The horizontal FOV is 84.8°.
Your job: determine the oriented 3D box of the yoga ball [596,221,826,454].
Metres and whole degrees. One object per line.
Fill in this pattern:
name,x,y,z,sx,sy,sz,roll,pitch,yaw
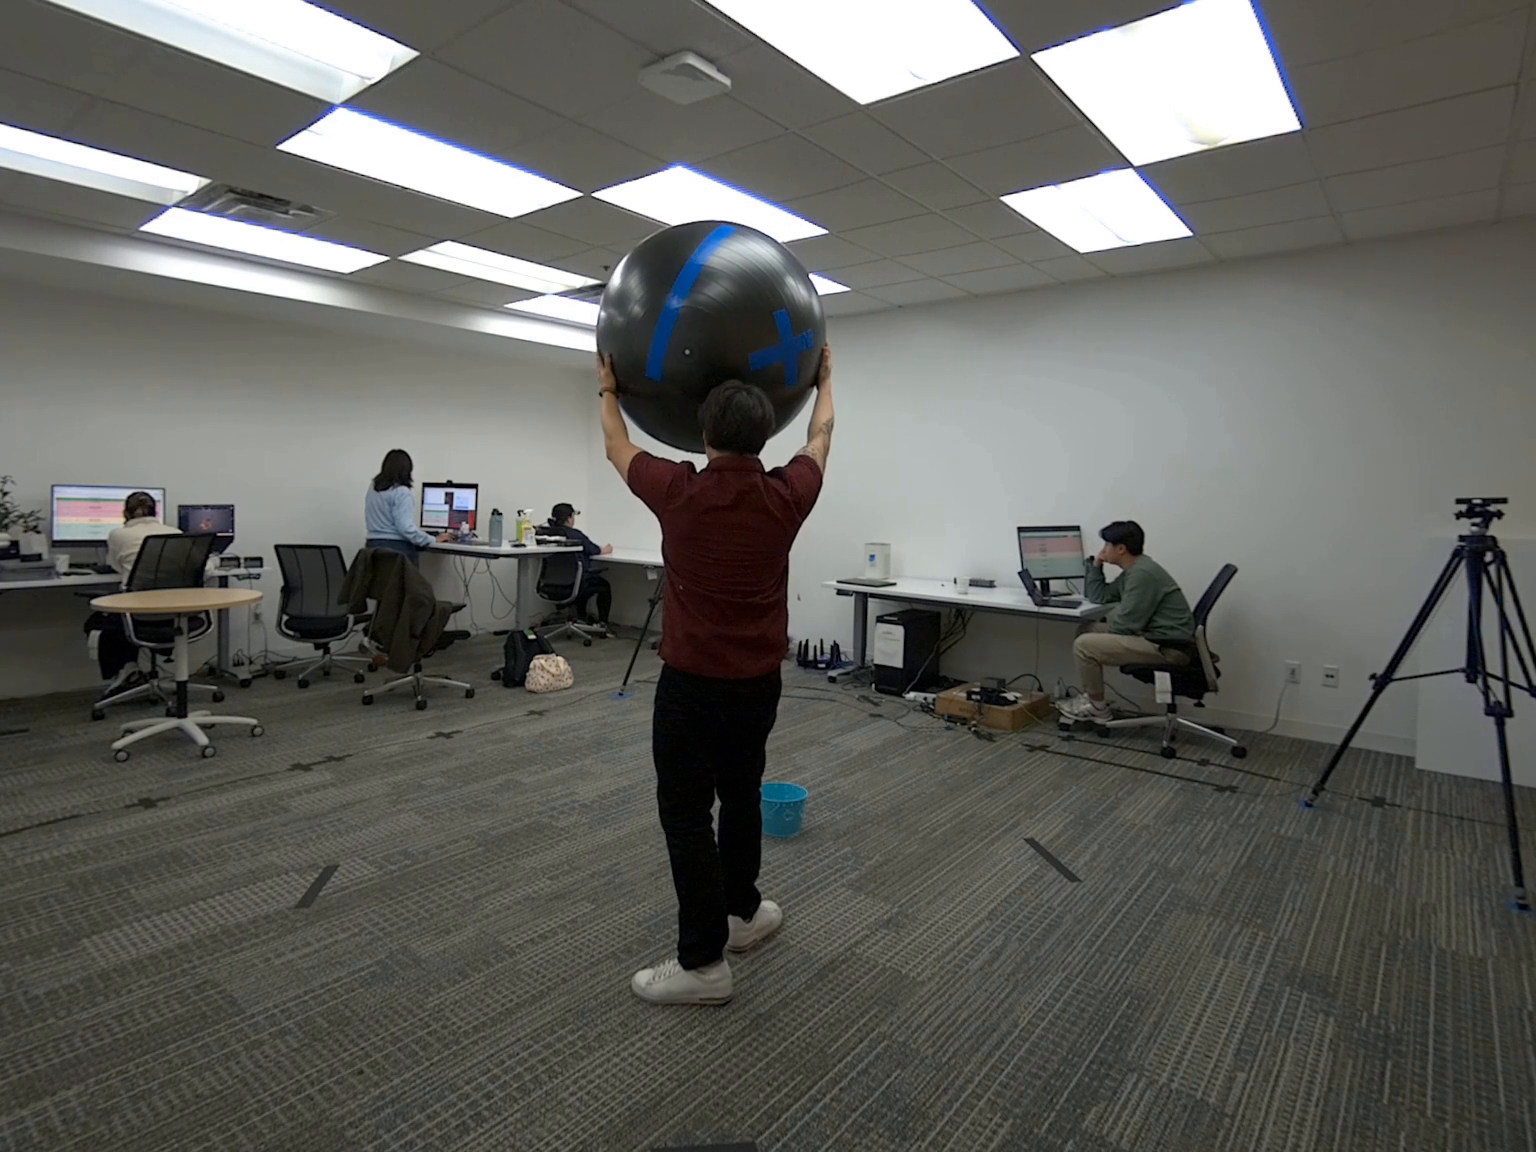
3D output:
yoga ball,-0.193,-0.777,2.826,0.757,0.756,0.762,1,4,-2
